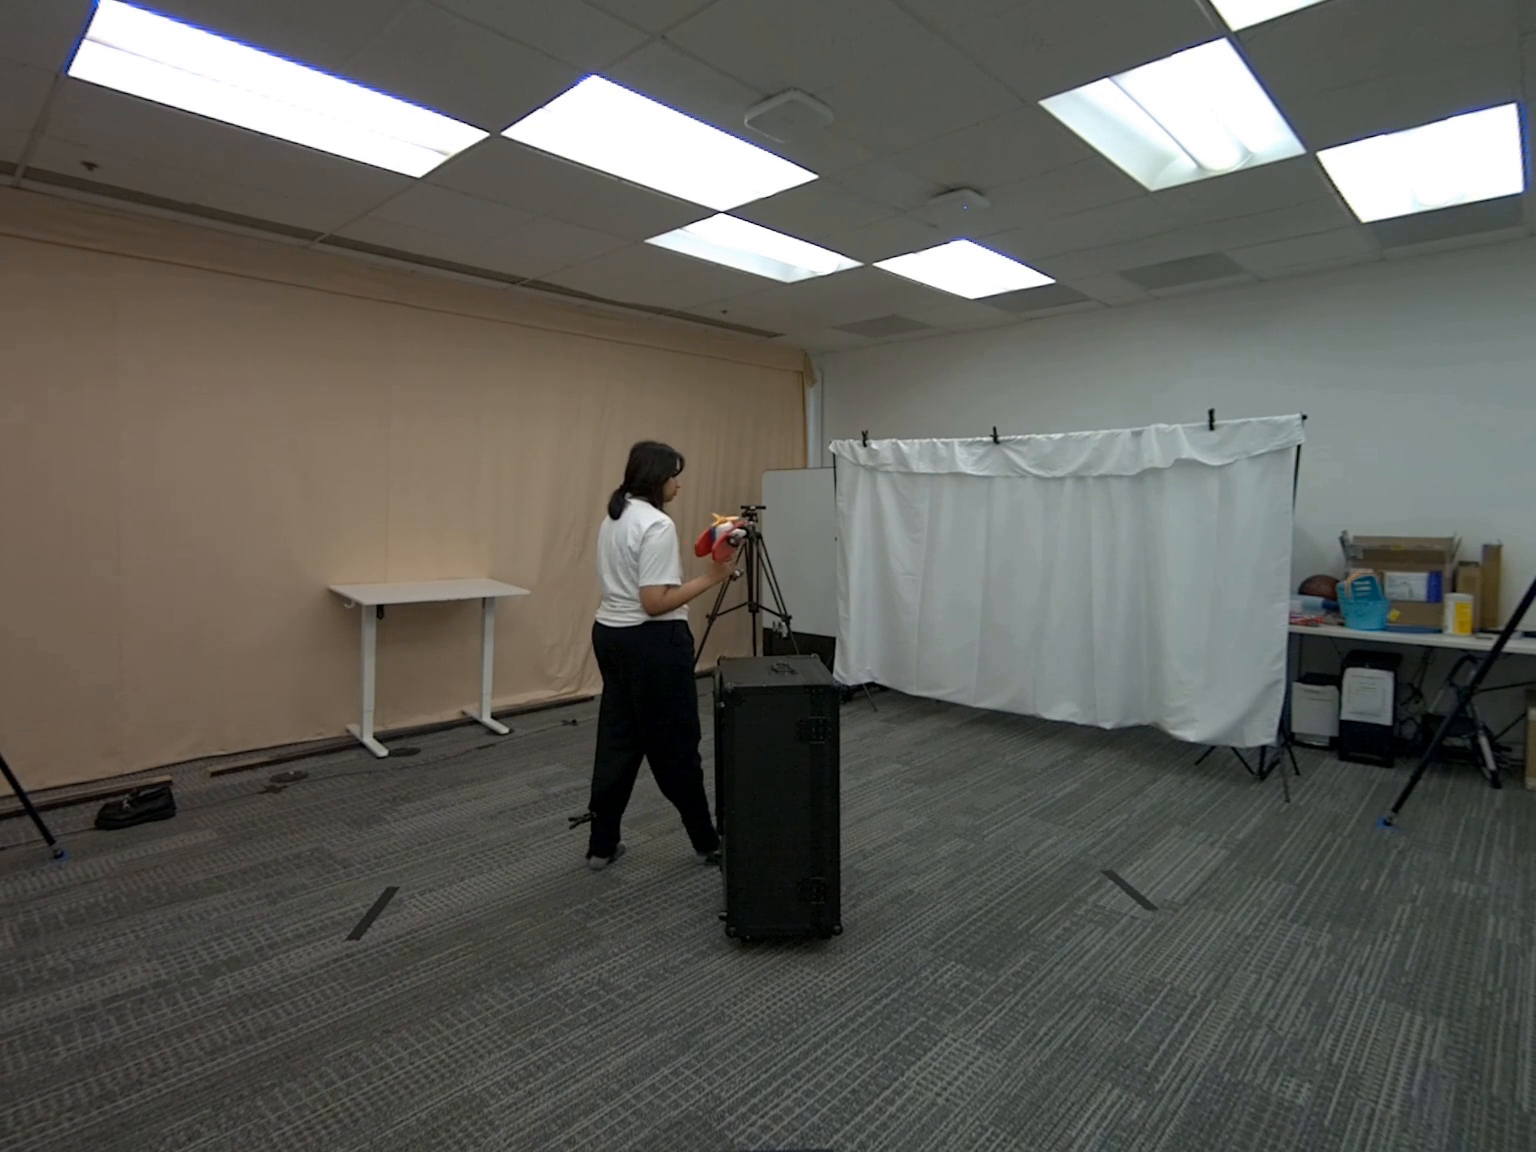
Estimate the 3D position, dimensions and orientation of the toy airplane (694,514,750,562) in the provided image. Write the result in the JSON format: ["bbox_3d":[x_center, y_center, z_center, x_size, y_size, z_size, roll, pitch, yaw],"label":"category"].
[{"bbox_3d":[-0.164,-0.096,3.190,0.161,0.259,0.245,26,9,22],"label":"toy airplane"}]
